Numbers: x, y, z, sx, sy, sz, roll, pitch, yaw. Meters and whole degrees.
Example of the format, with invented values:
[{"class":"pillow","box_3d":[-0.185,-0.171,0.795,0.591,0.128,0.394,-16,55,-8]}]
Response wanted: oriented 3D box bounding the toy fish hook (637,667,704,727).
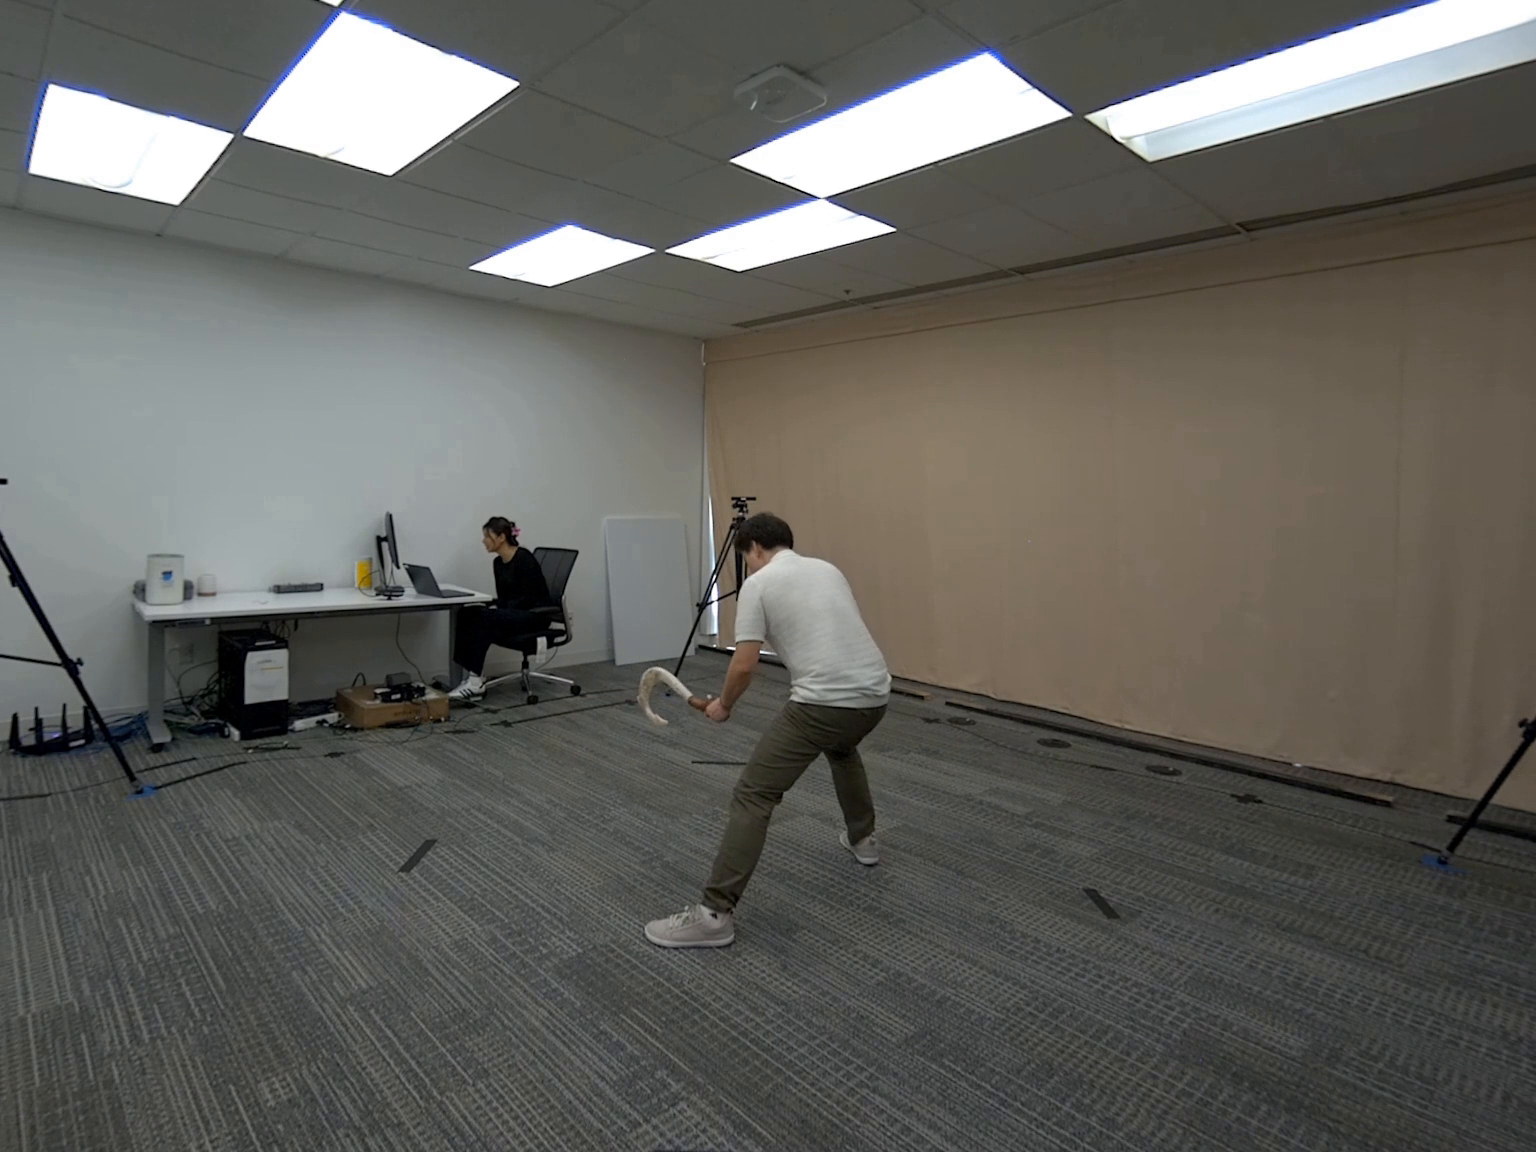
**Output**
[{"class":"toy fish hook","box_3d":[-0.347,0.519,3.303,0.521,0.223,0.047,16,12,42]}]
